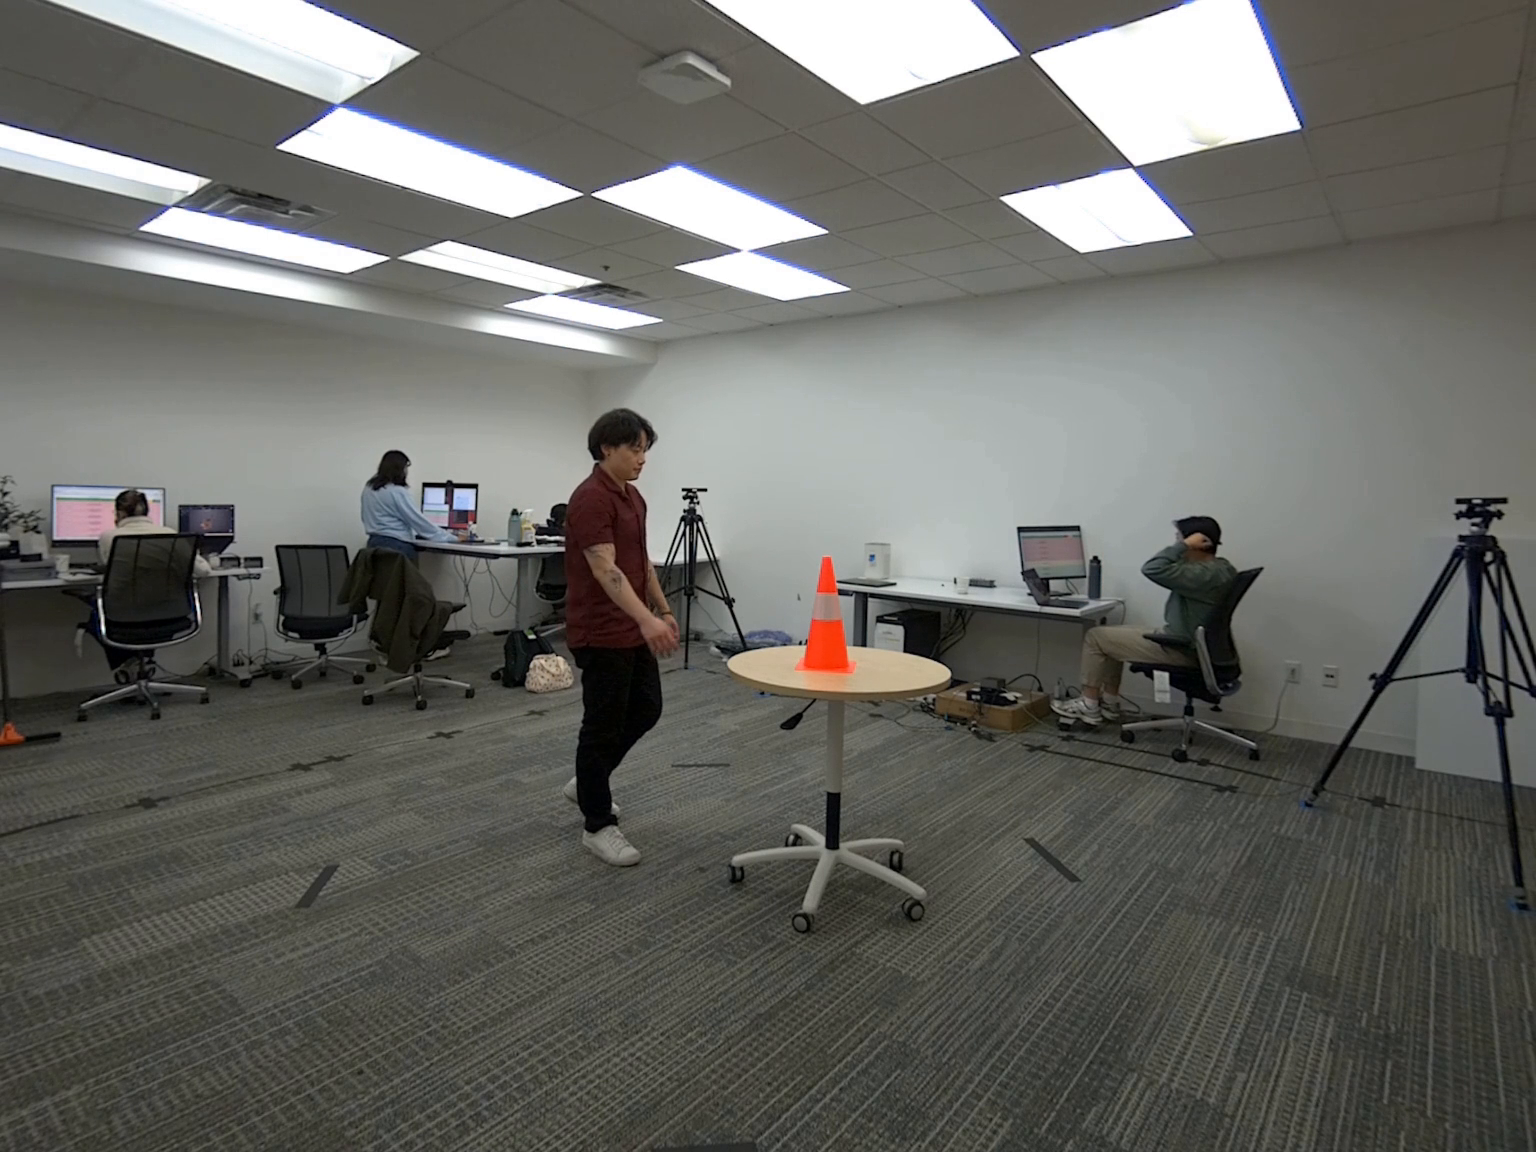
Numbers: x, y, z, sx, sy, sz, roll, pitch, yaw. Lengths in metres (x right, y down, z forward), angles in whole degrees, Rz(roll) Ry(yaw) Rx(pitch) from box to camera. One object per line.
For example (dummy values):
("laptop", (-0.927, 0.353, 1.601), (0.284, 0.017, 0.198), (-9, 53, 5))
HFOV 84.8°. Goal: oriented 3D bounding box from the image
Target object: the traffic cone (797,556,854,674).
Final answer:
("traffic cone", (0.199, 0.124, 2.937), (0.208, 0.382, 0.201), (2, 5, 14))
